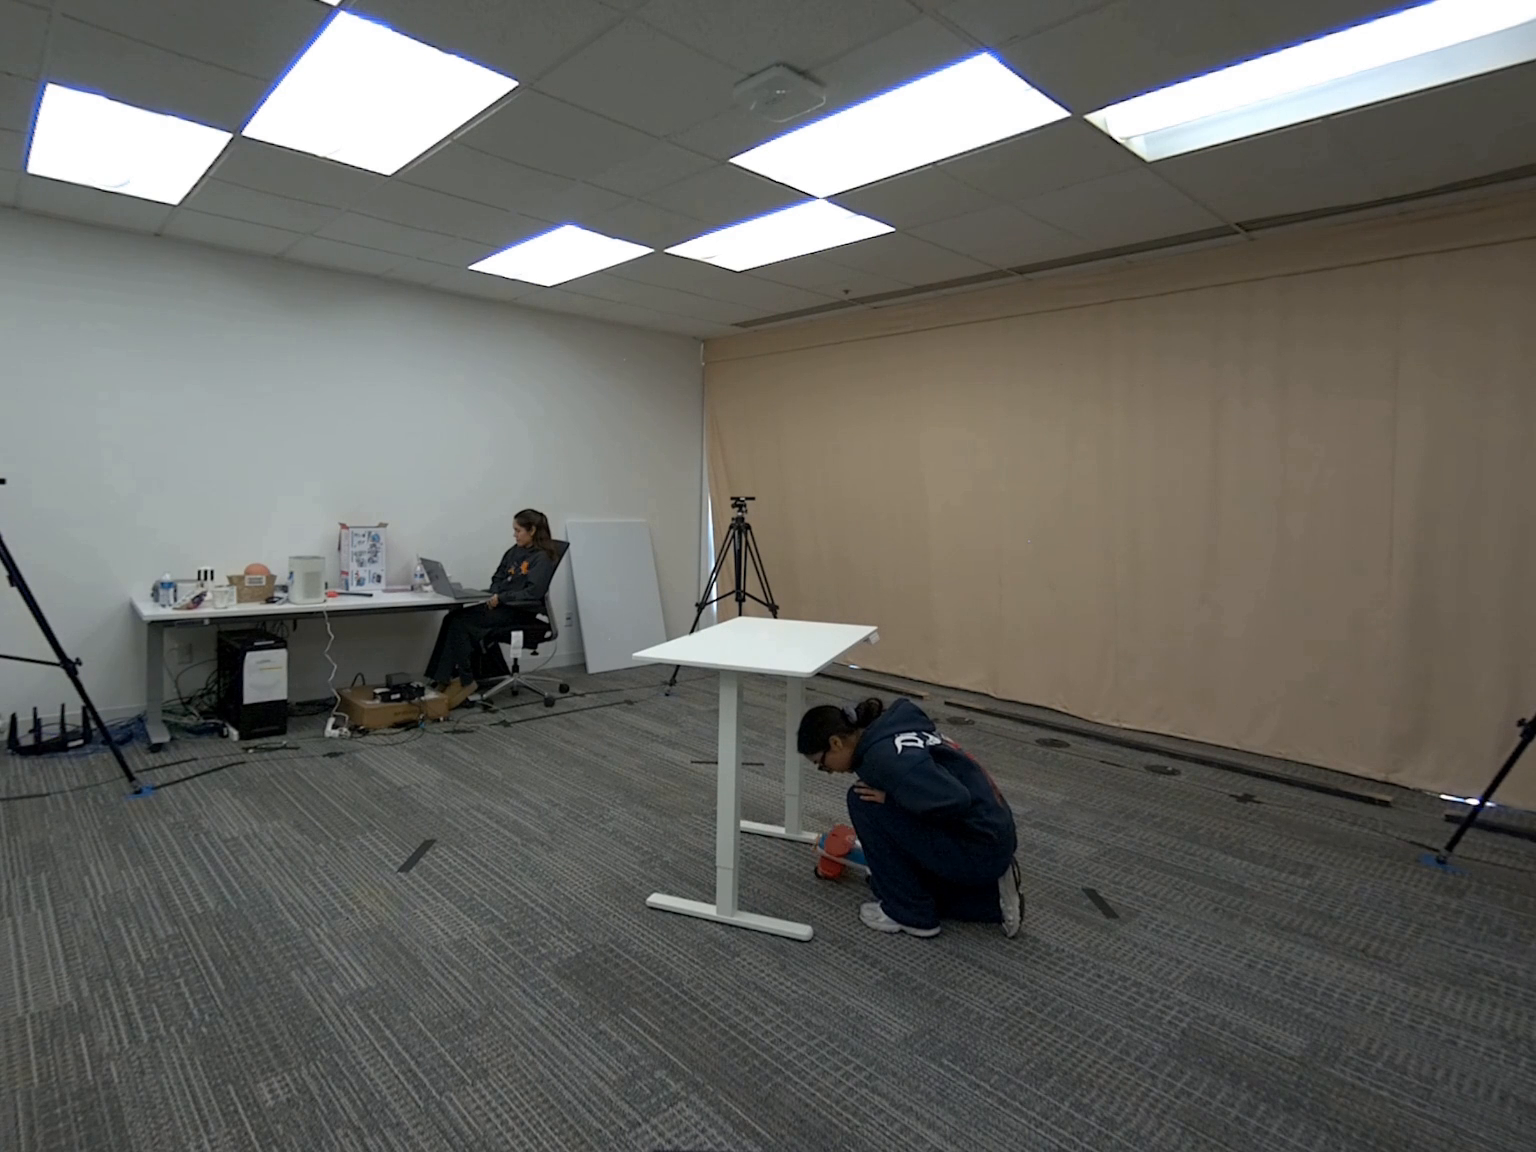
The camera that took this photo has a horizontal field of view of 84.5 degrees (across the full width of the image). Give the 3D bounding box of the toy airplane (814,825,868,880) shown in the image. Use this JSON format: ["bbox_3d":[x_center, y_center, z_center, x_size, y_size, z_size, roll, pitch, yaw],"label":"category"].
[{"bbox_3d":[0.283,1.033,3.149,0.257,0.156,0.254,-1,7,-10],"label":"toy airplane"}]
